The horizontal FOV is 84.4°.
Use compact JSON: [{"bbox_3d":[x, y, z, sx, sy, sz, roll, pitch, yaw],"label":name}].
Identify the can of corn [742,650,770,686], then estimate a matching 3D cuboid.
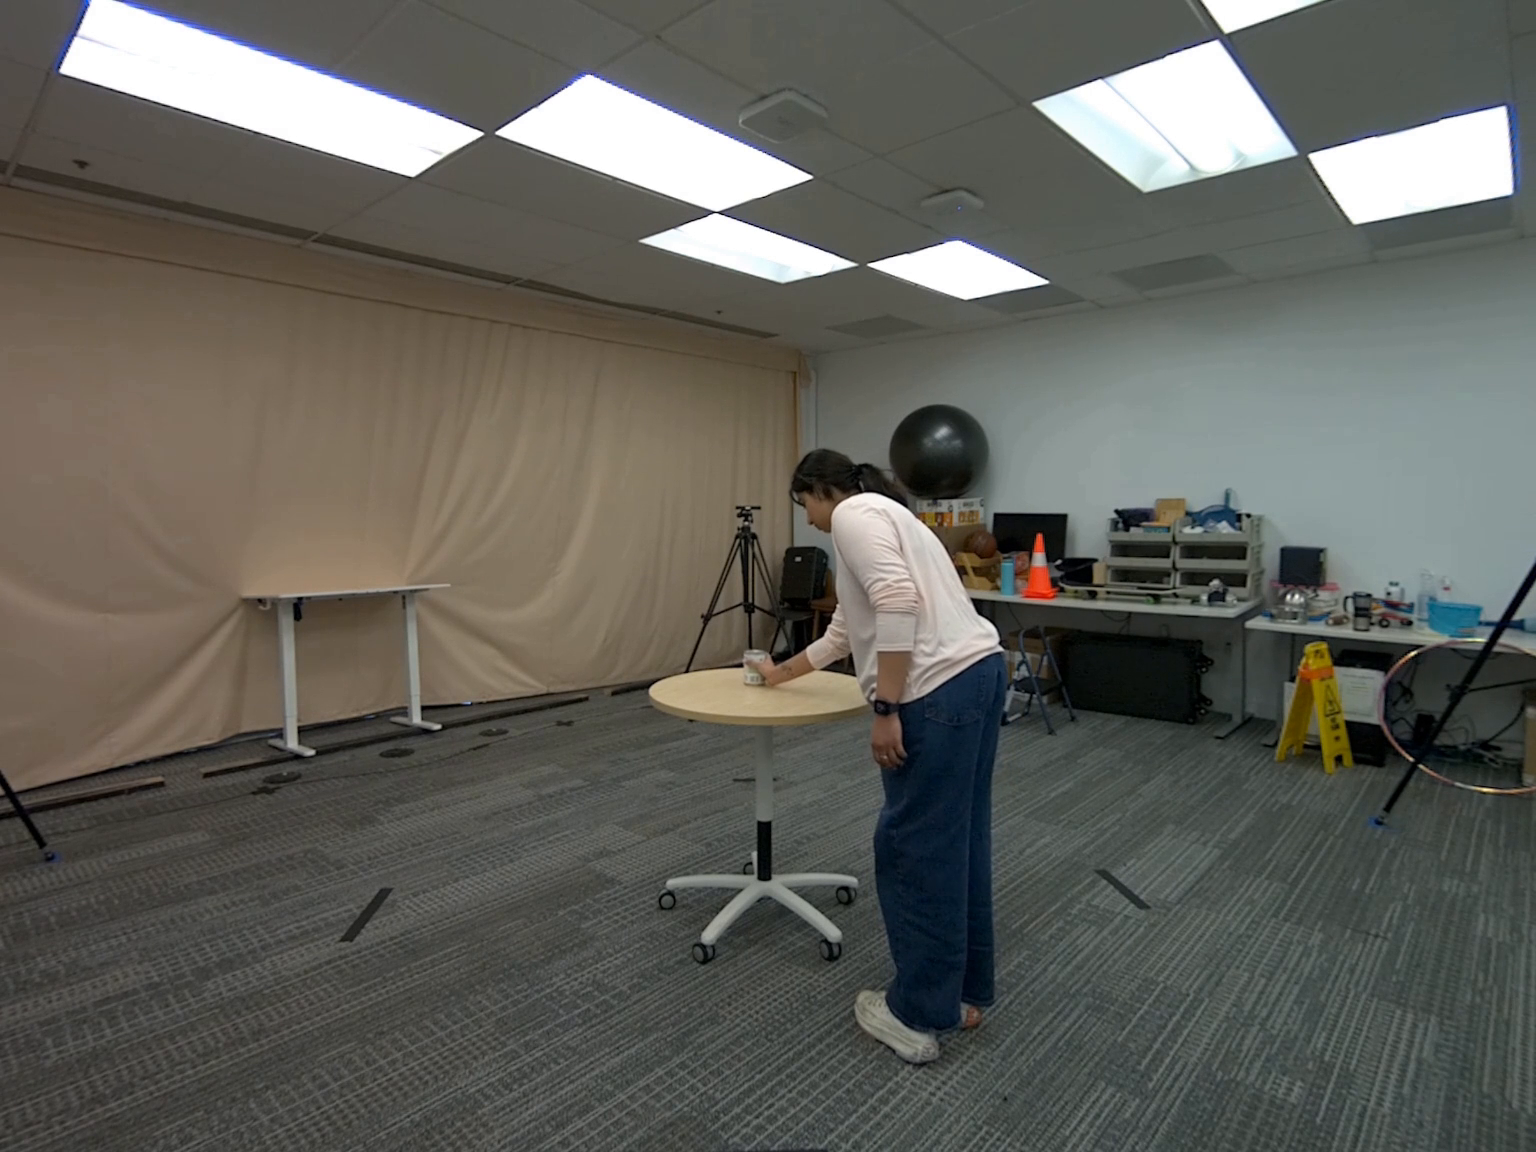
[{"bbox_3d":[-0.038,0.313,2.872,0.074,0.111,0.074,2,3,-2],"label":"can of corn"}]
